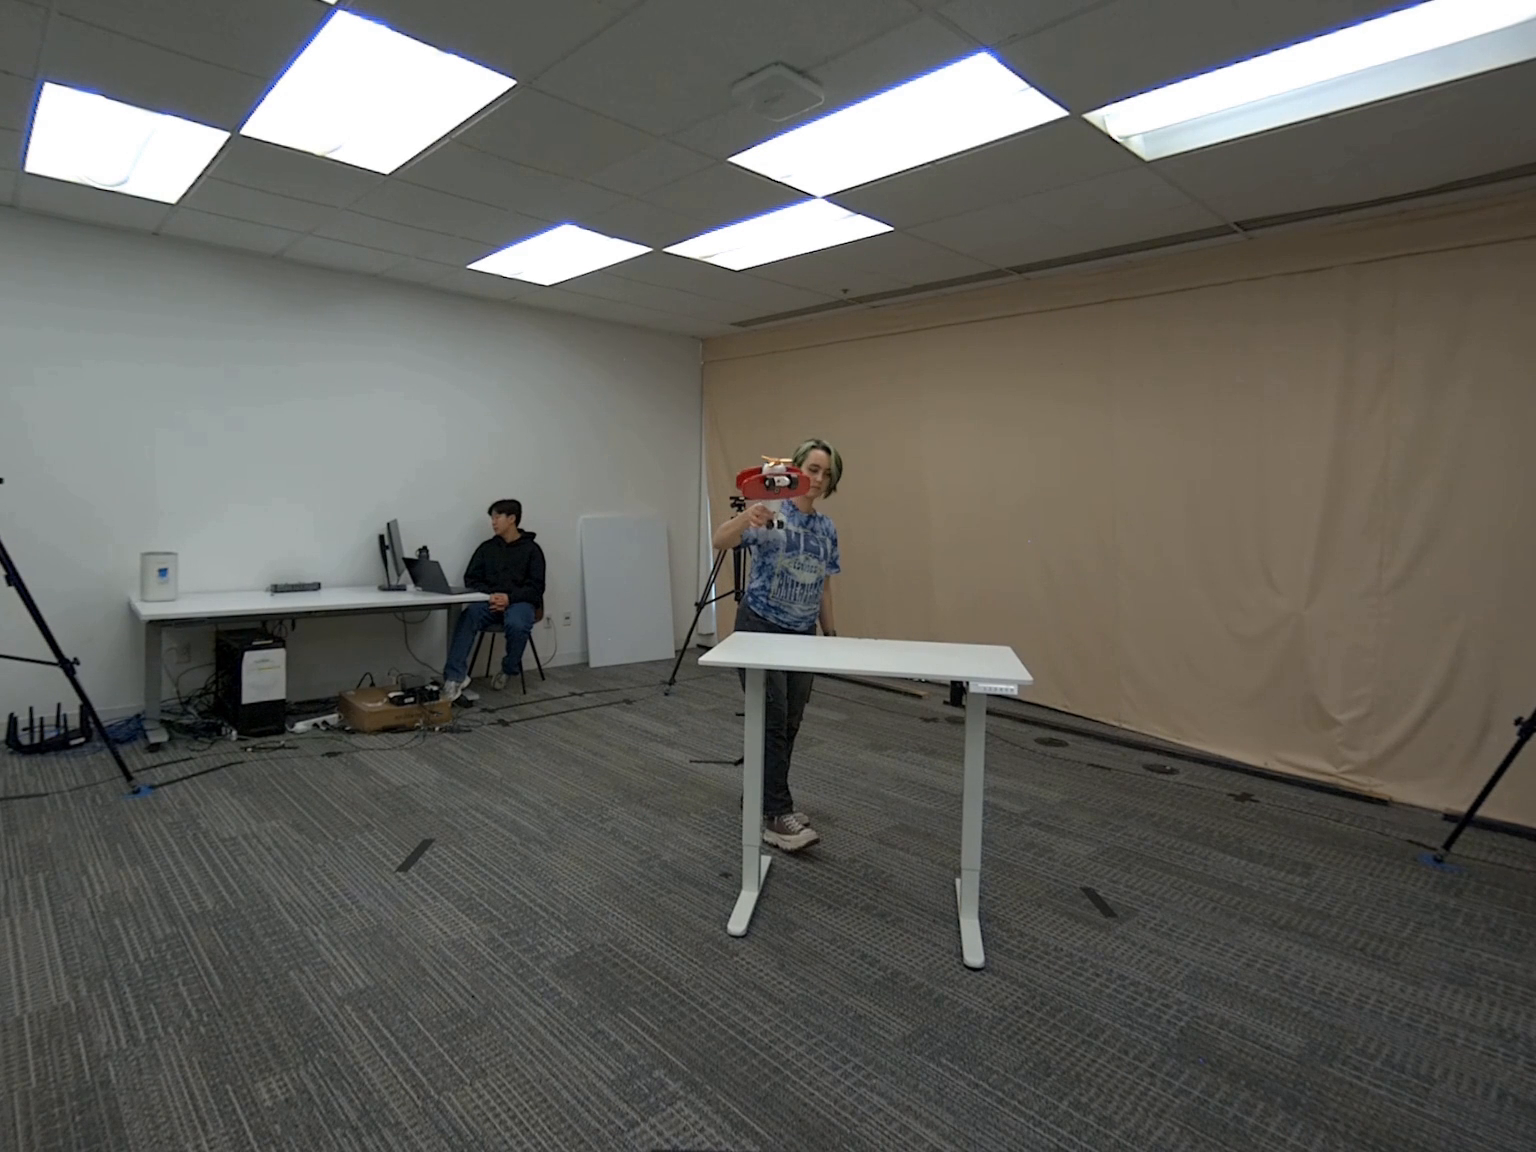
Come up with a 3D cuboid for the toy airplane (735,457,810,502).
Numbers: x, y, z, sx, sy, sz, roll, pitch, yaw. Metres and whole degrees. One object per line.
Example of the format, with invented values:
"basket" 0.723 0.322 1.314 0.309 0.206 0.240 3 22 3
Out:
"toy airplane" -0.003 -0.292 3.009 0.244 0.258 0.161 20 32 -32
